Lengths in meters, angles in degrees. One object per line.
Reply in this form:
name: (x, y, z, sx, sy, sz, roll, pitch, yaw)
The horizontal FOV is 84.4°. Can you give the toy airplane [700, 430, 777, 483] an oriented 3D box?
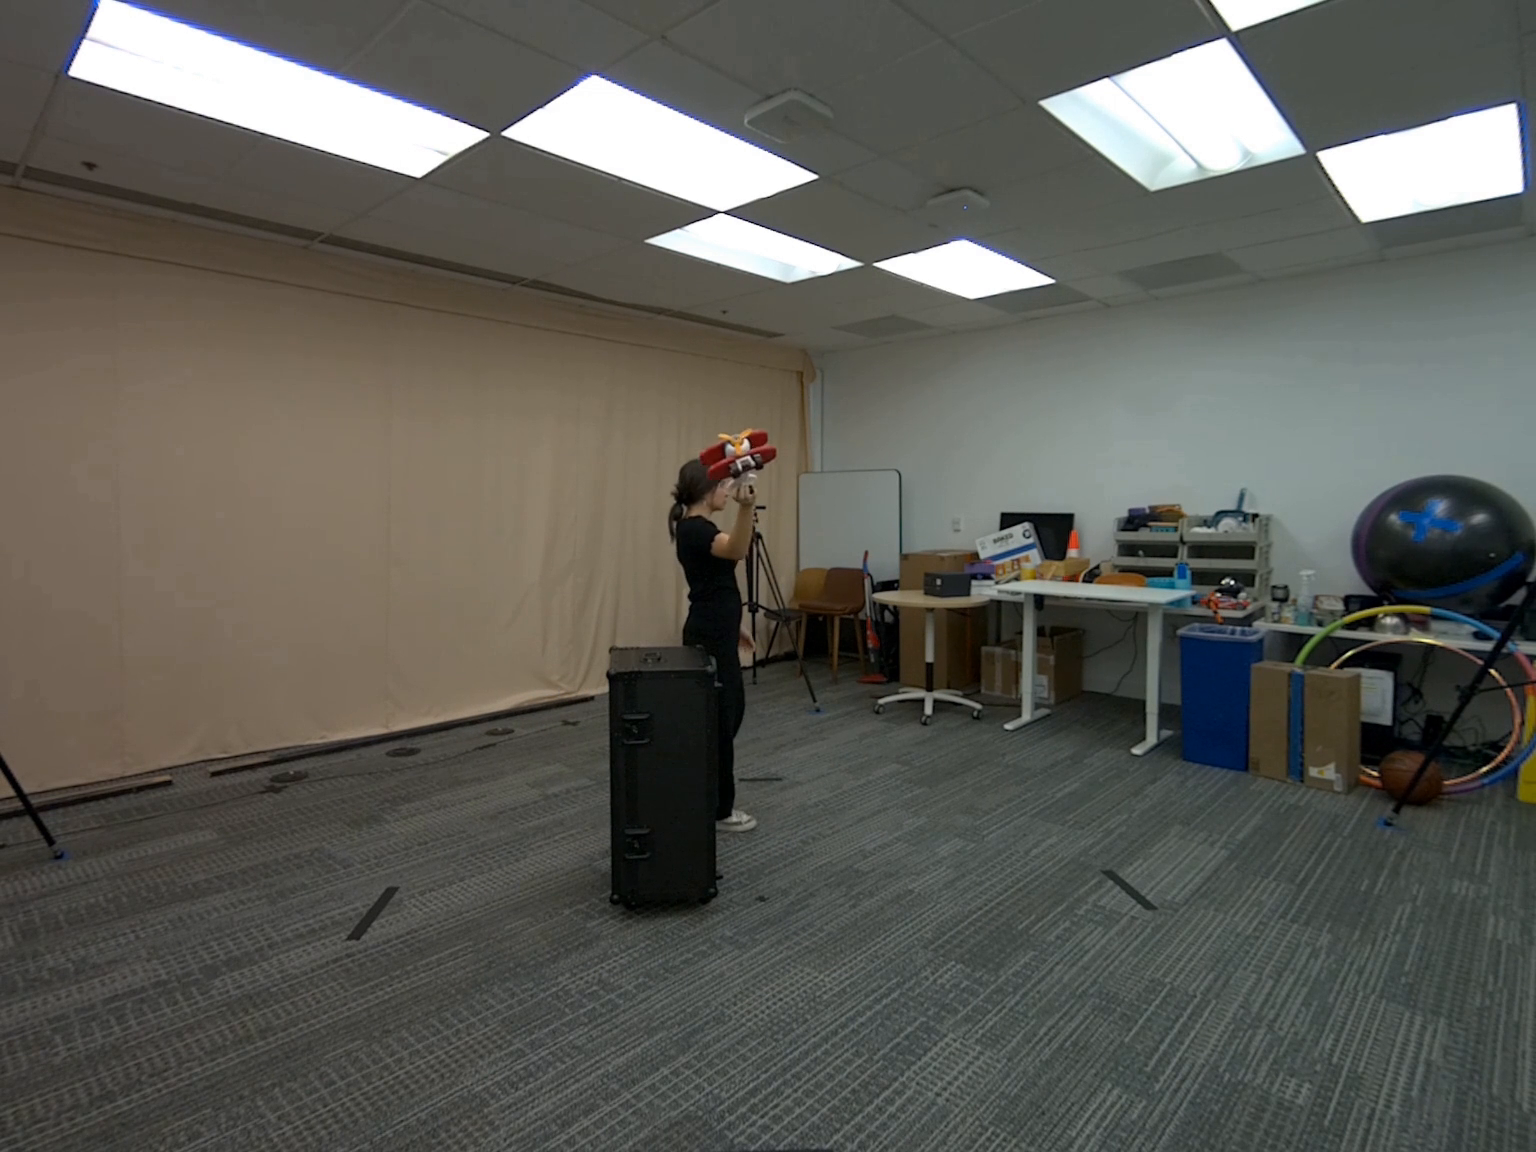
toy airplane: (-0.113, -0.386, 2.950, 0.244, 0.159, 0.261, -9, -22, -34)
